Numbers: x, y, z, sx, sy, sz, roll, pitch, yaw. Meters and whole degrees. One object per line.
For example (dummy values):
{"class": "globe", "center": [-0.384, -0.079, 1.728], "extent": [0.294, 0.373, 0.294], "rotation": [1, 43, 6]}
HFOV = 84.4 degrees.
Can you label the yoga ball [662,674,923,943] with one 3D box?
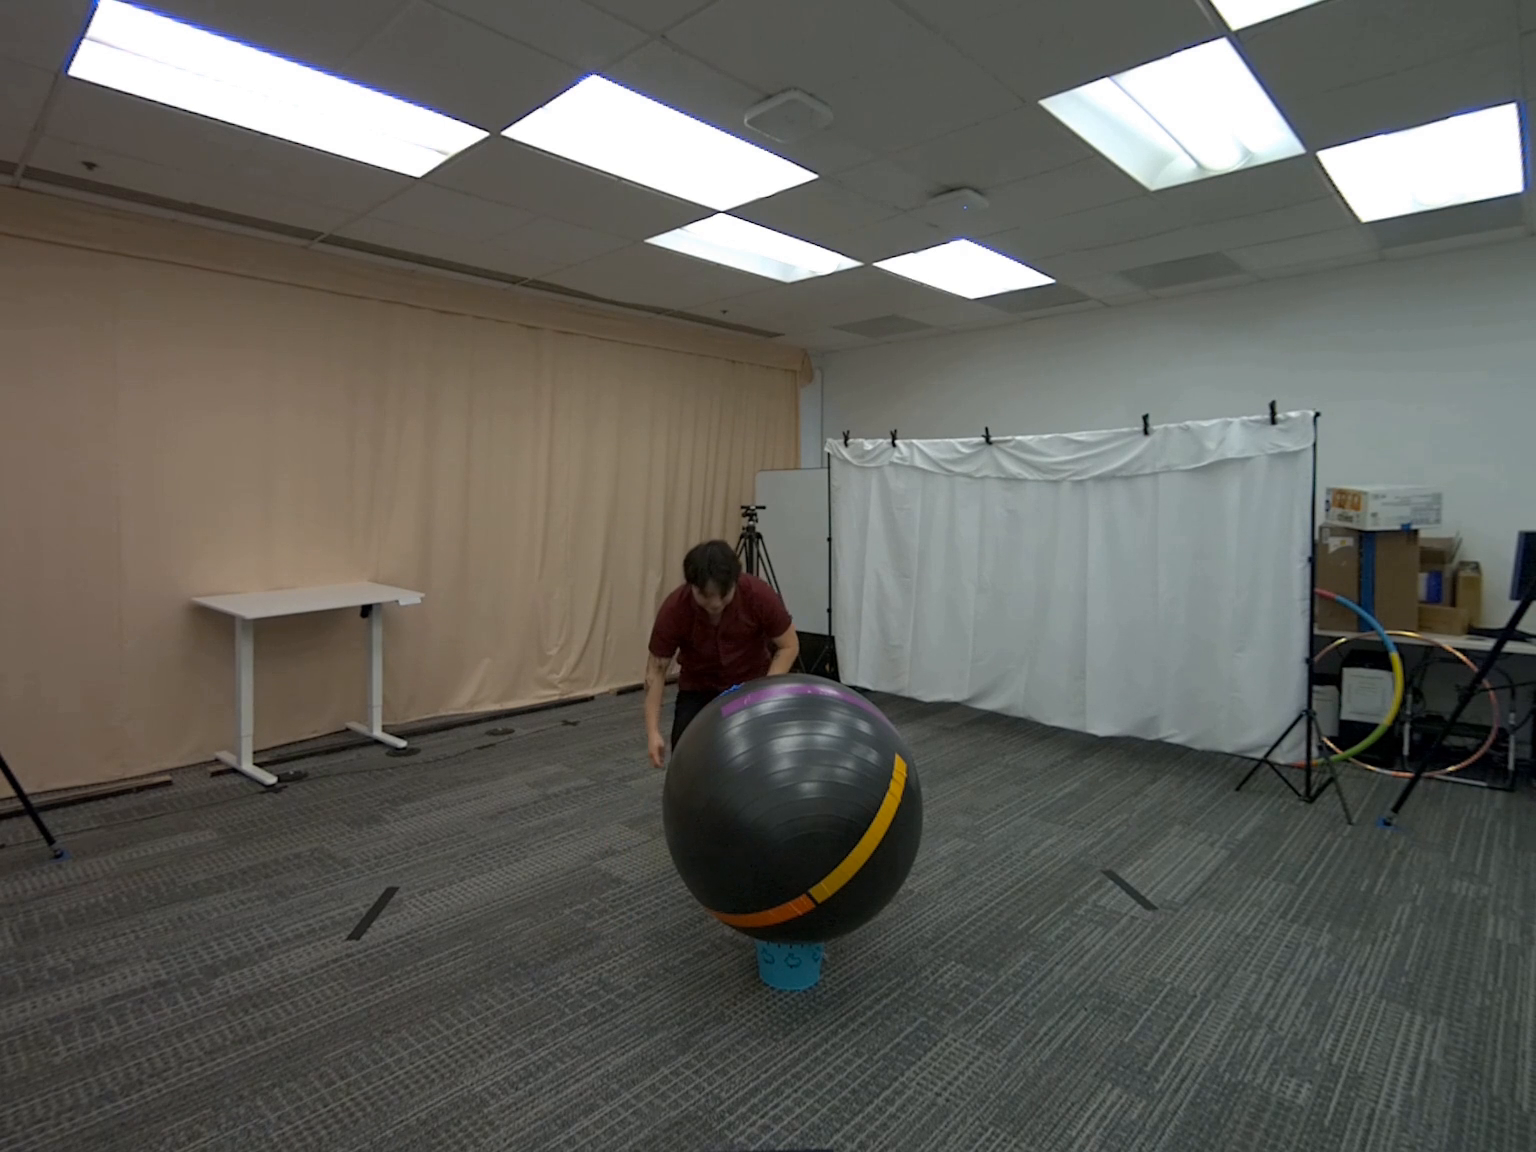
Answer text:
{"class": "yoga ball", "center": [0.072, 0.675, 2.481], "extent": [0.757, 0.756, 0.760], "rotation": [0, 4, -2]}
